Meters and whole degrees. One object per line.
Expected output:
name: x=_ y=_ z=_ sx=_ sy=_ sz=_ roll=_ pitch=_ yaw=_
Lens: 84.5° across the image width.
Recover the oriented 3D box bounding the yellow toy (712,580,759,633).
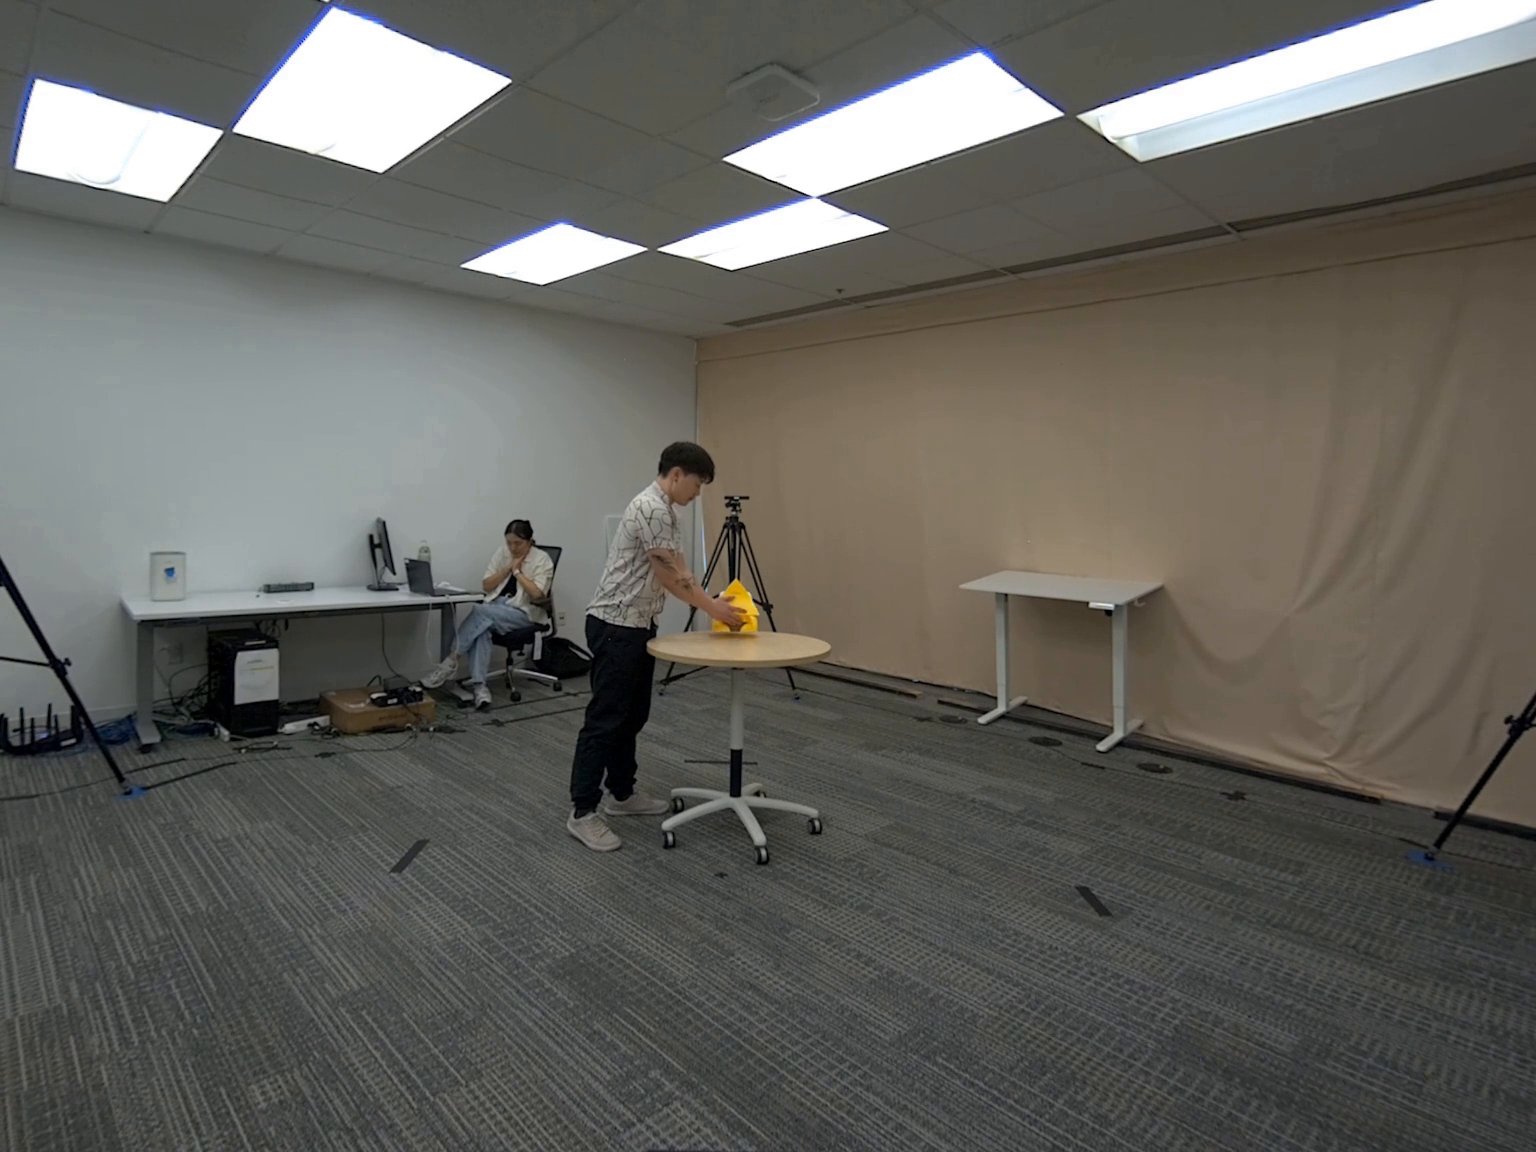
yellow toy: x=-0.155 y=0.112 z=3.715 sx=0.204 sy=0.229 sz=0.194 roll=0 pitch=6 yaw=-2
